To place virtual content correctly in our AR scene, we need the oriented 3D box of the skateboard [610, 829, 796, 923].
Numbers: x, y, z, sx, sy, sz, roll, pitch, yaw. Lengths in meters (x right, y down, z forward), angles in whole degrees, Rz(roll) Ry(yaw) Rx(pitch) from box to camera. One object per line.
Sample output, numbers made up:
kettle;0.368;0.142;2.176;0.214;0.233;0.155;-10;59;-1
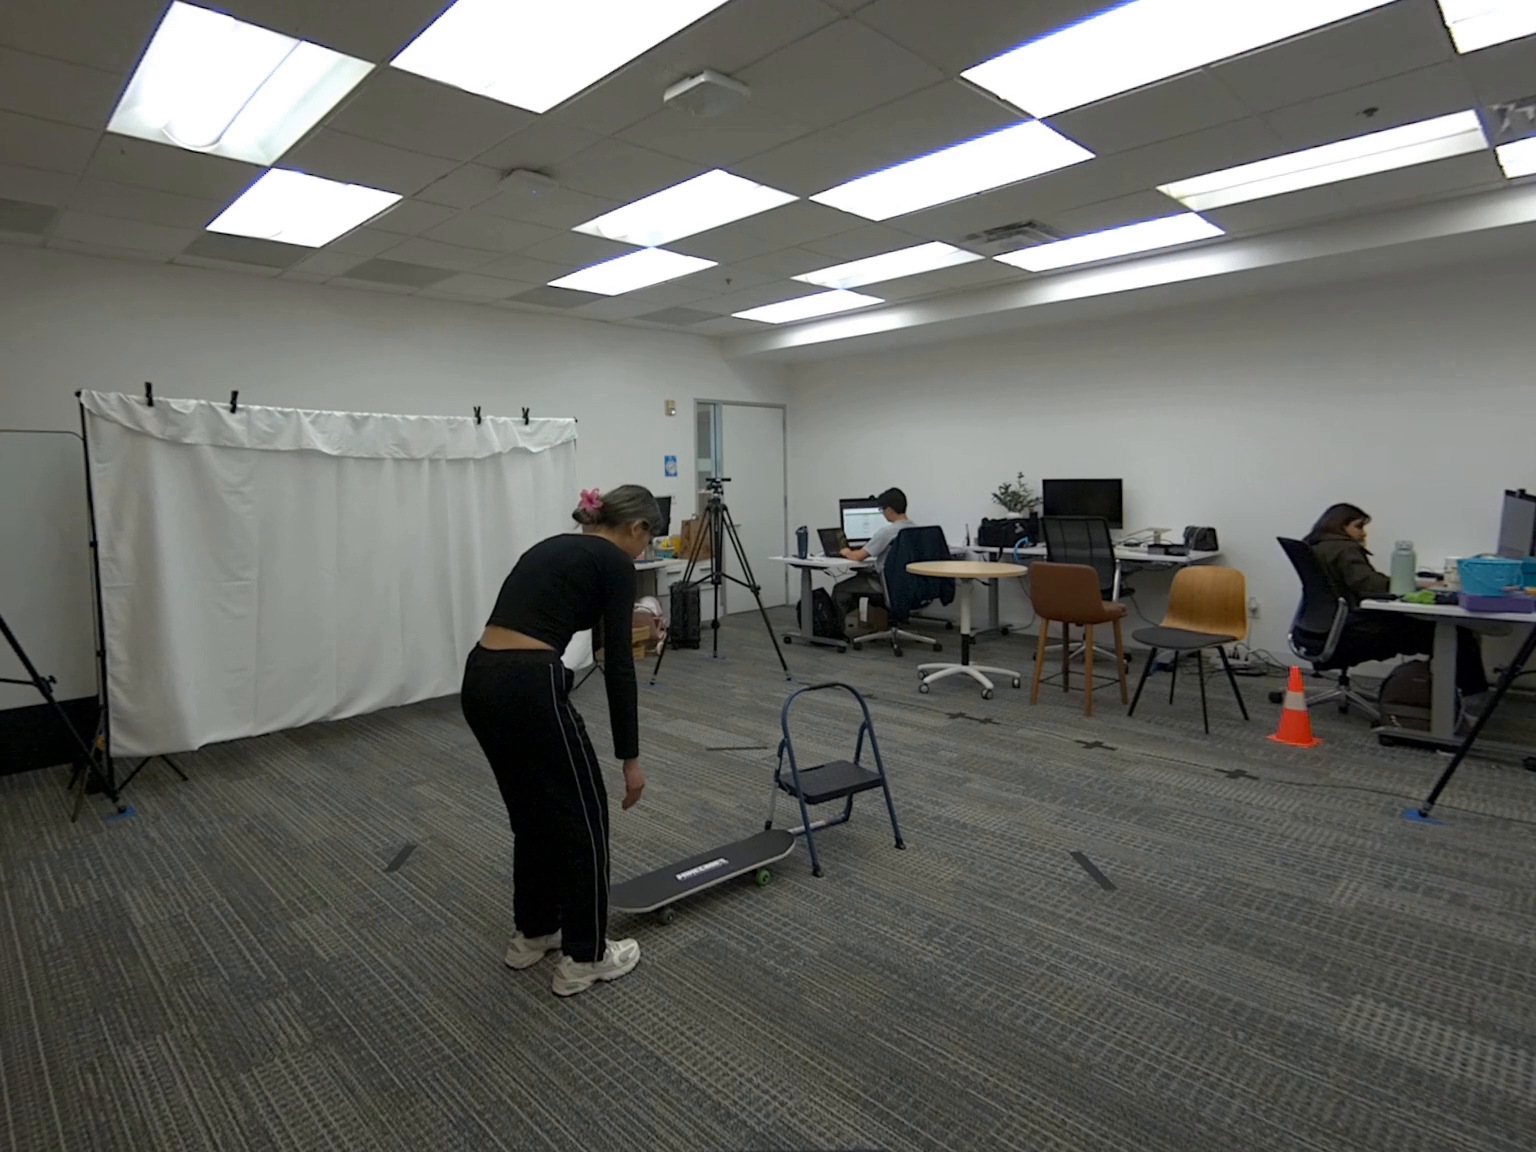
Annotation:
skateboard;-0.218;1.020;2.867;0.765;0.110;0.199;-6;7;-39
